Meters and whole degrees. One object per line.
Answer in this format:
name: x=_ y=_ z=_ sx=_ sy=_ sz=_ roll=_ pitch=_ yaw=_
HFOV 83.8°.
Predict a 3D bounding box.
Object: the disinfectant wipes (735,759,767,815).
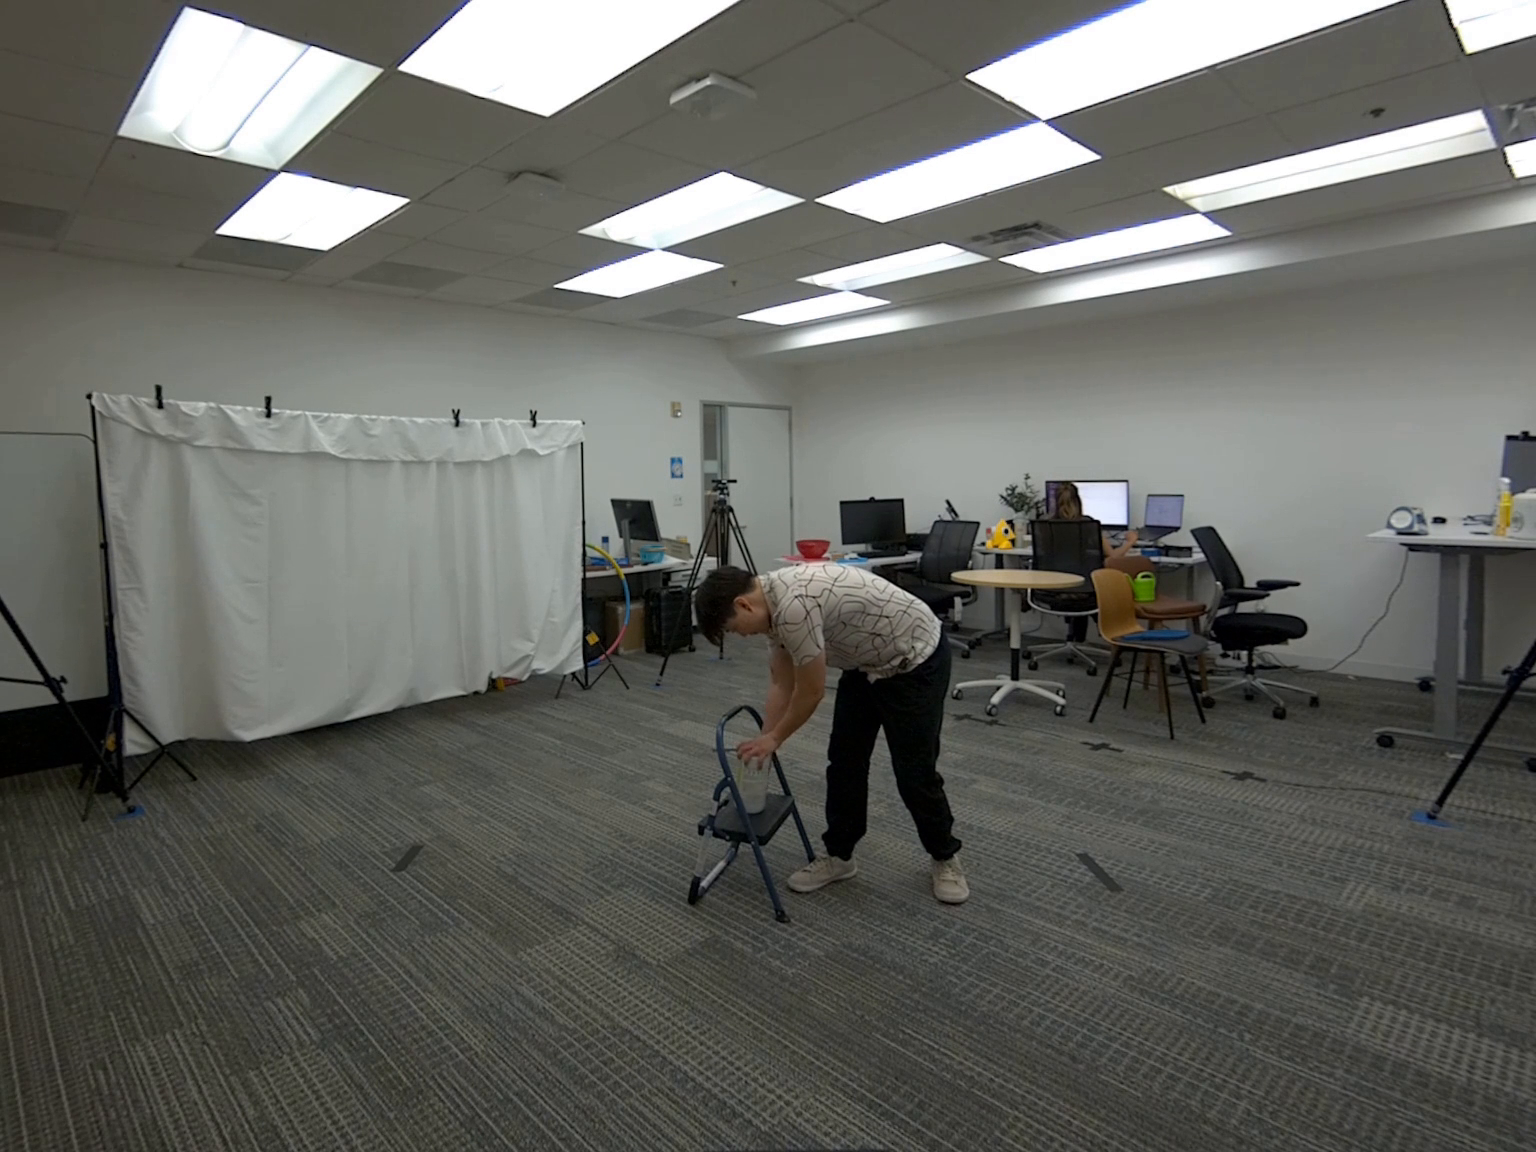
disinfectant wipes: x=-0.047 y=0.696 z=2.934 sx=0.117 sy=0.216 sz=0.119 roll=4 pitch=9 yaw=-2
